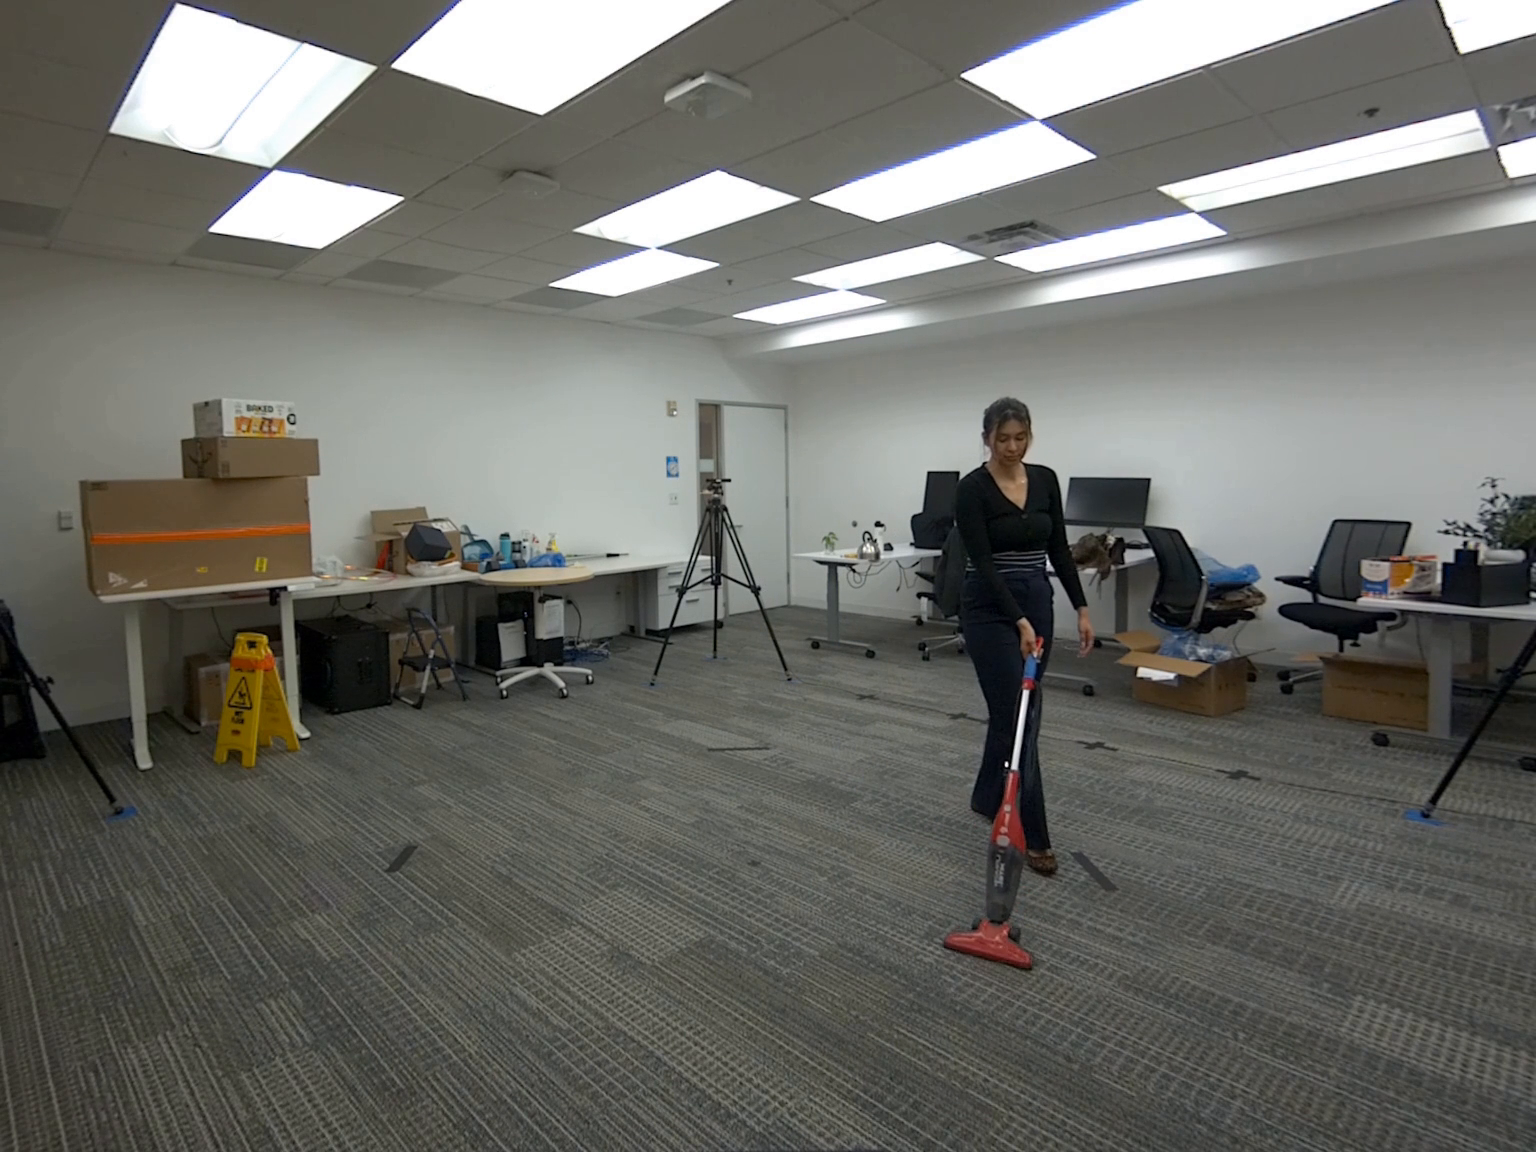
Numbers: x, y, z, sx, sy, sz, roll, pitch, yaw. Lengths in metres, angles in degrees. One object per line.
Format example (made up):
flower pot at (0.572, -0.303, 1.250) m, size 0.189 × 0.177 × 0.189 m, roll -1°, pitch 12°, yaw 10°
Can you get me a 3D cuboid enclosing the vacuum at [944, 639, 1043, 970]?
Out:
vacuum at (0.811, 0.672, 2.782) m, size 0.259 × 1.063 × 0.138 m, roll 3°, pitch -35°, yaw 25°
